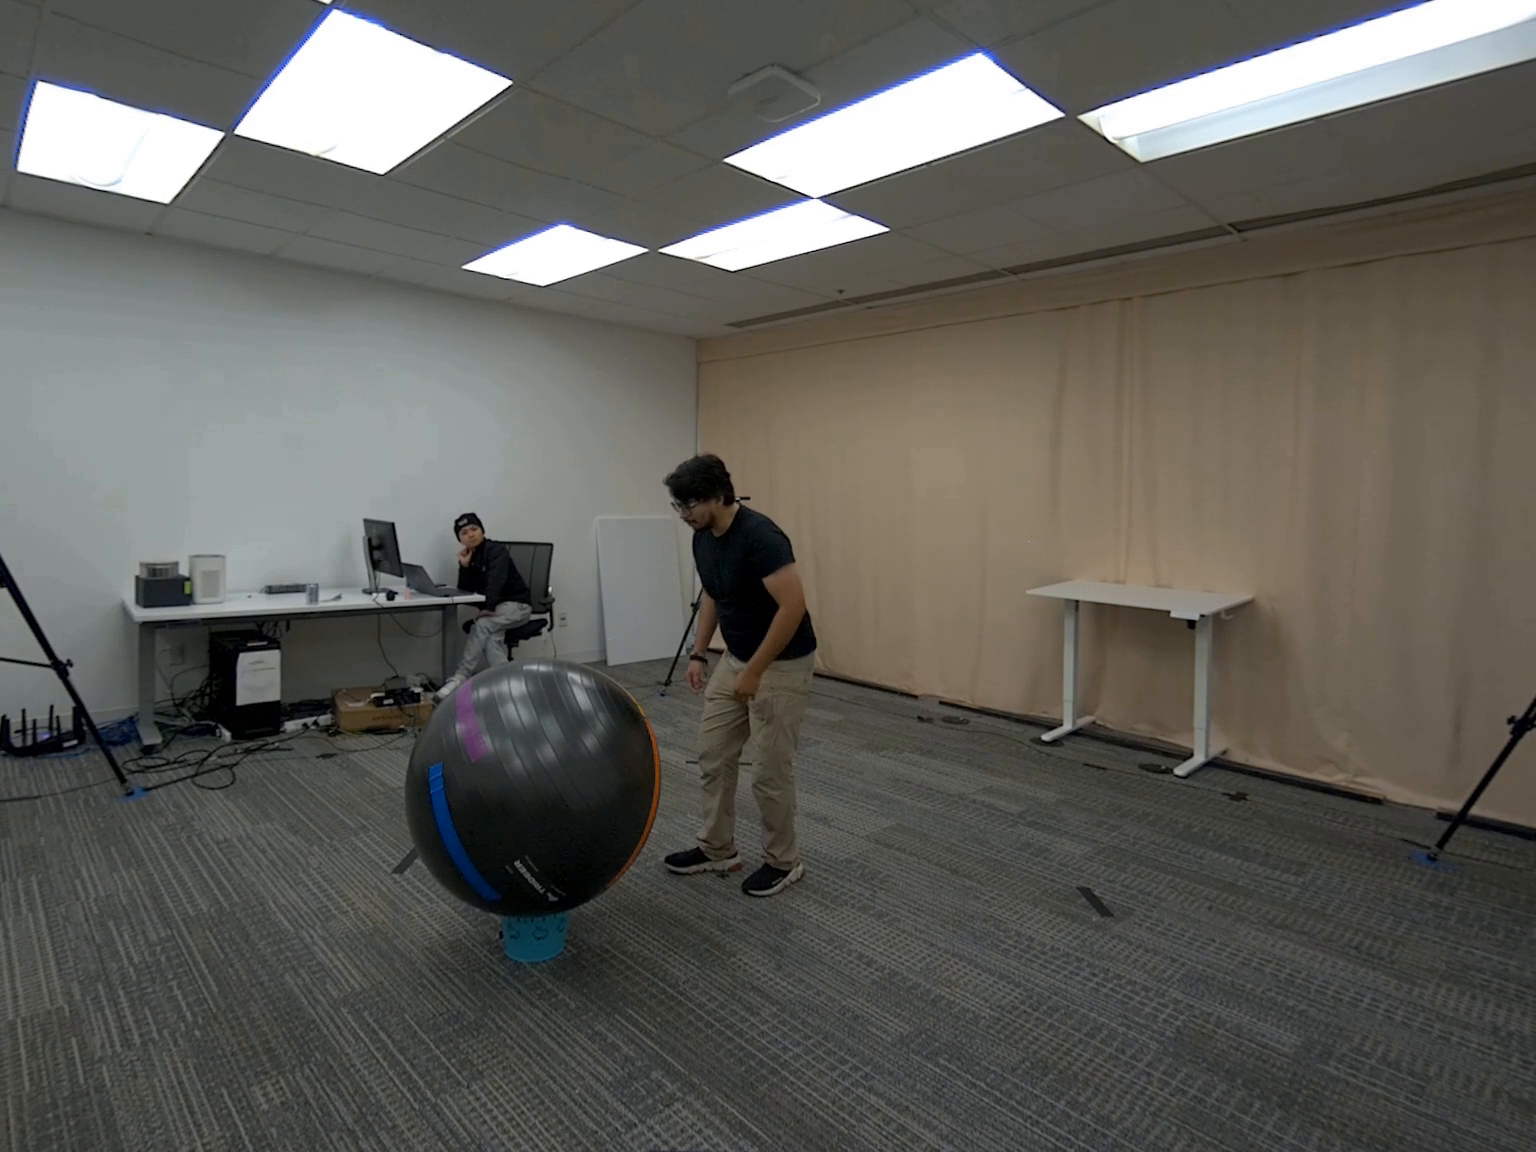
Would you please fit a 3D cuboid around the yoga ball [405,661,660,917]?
[{"bbox_3d":[-0.711,0.636,2.565,0.757,0.756,0.761,1,4,-1],"label":"yoga ball"}]
